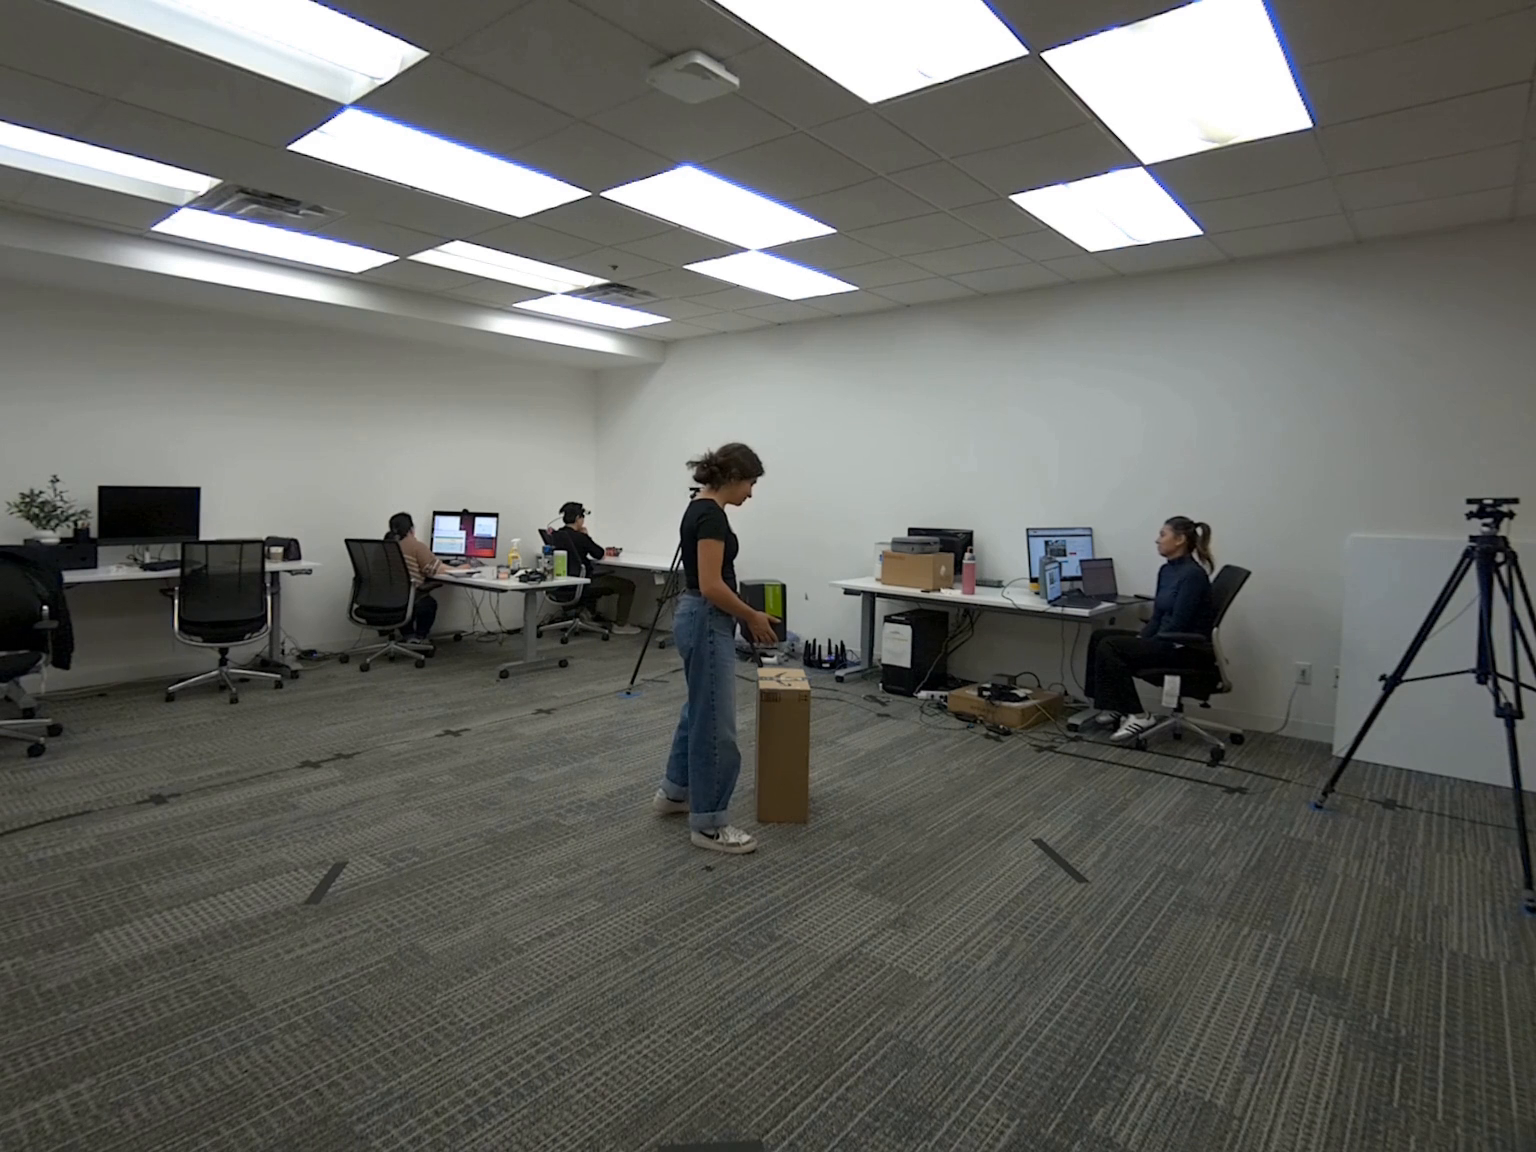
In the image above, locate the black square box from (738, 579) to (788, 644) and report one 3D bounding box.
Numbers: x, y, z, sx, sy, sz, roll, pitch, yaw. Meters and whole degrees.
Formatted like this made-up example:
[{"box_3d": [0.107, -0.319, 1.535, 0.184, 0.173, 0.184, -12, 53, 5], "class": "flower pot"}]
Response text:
[{"box_3d": [-0.025, 0.137, 3.393, 0.154, 0.227, 0.220, -1, 3, -11], "class": "black square box"}]
